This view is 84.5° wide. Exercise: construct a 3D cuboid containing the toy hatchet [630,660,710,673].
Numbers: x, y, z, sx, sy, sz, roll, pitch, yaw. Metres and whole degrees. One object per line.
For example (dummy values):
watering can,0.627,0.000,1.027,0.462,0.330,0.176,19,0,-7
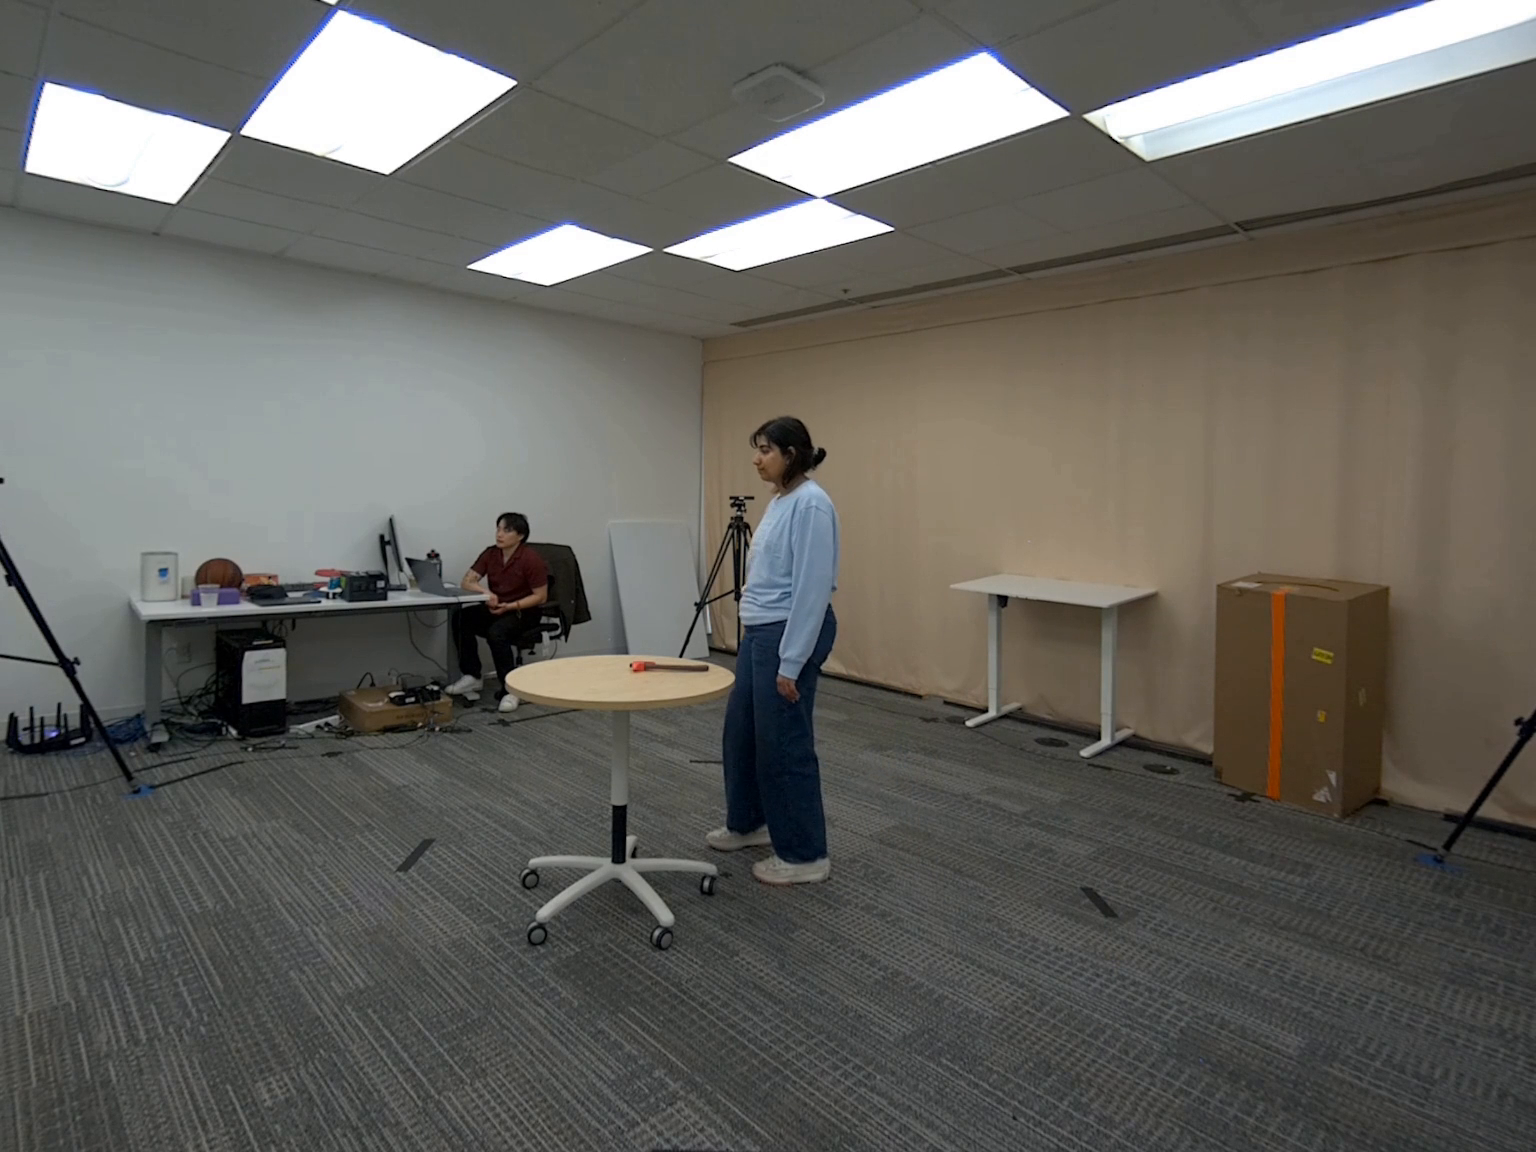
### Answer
toy hatchet,-0.362,0.319,2.970,0.267,0.029,0.132,2,0,-14
